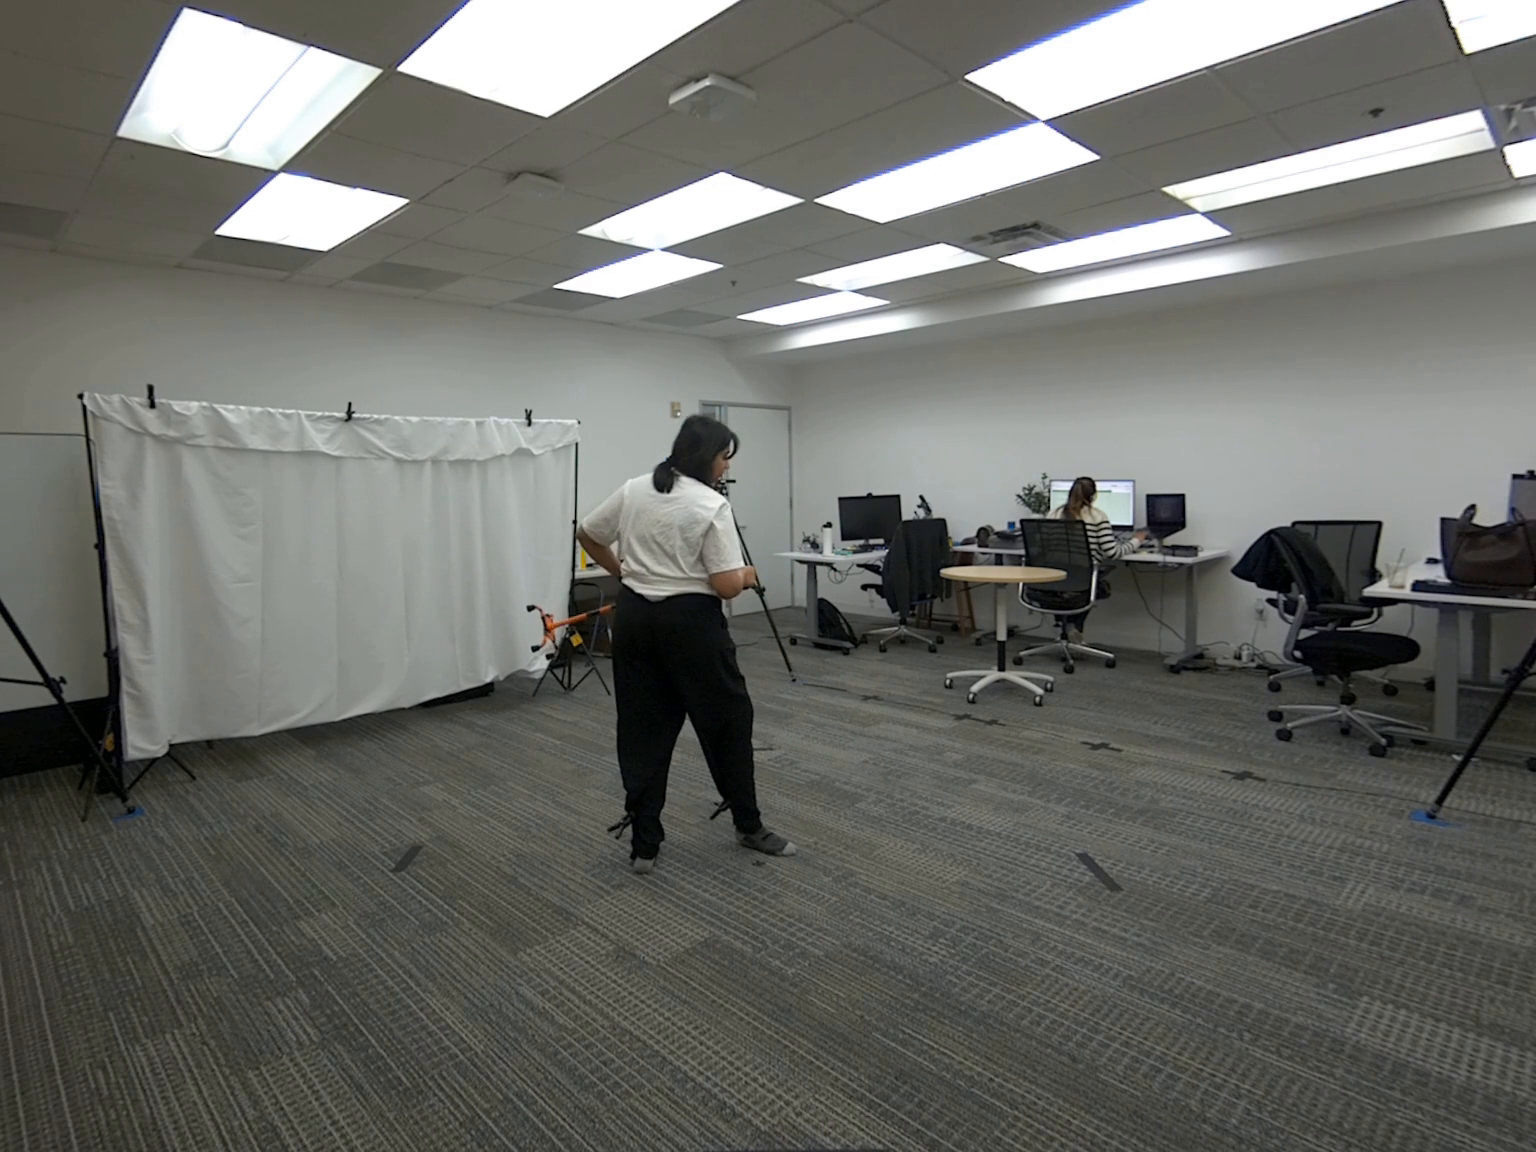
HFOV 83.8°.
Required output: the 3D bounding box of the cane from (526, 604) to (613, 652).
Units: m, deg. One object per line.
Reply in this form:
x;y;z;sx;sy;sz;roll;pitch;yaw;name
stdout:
-0.505;0.124;3.451;0.912;0.211;0.147;-18;-23;8;cane
